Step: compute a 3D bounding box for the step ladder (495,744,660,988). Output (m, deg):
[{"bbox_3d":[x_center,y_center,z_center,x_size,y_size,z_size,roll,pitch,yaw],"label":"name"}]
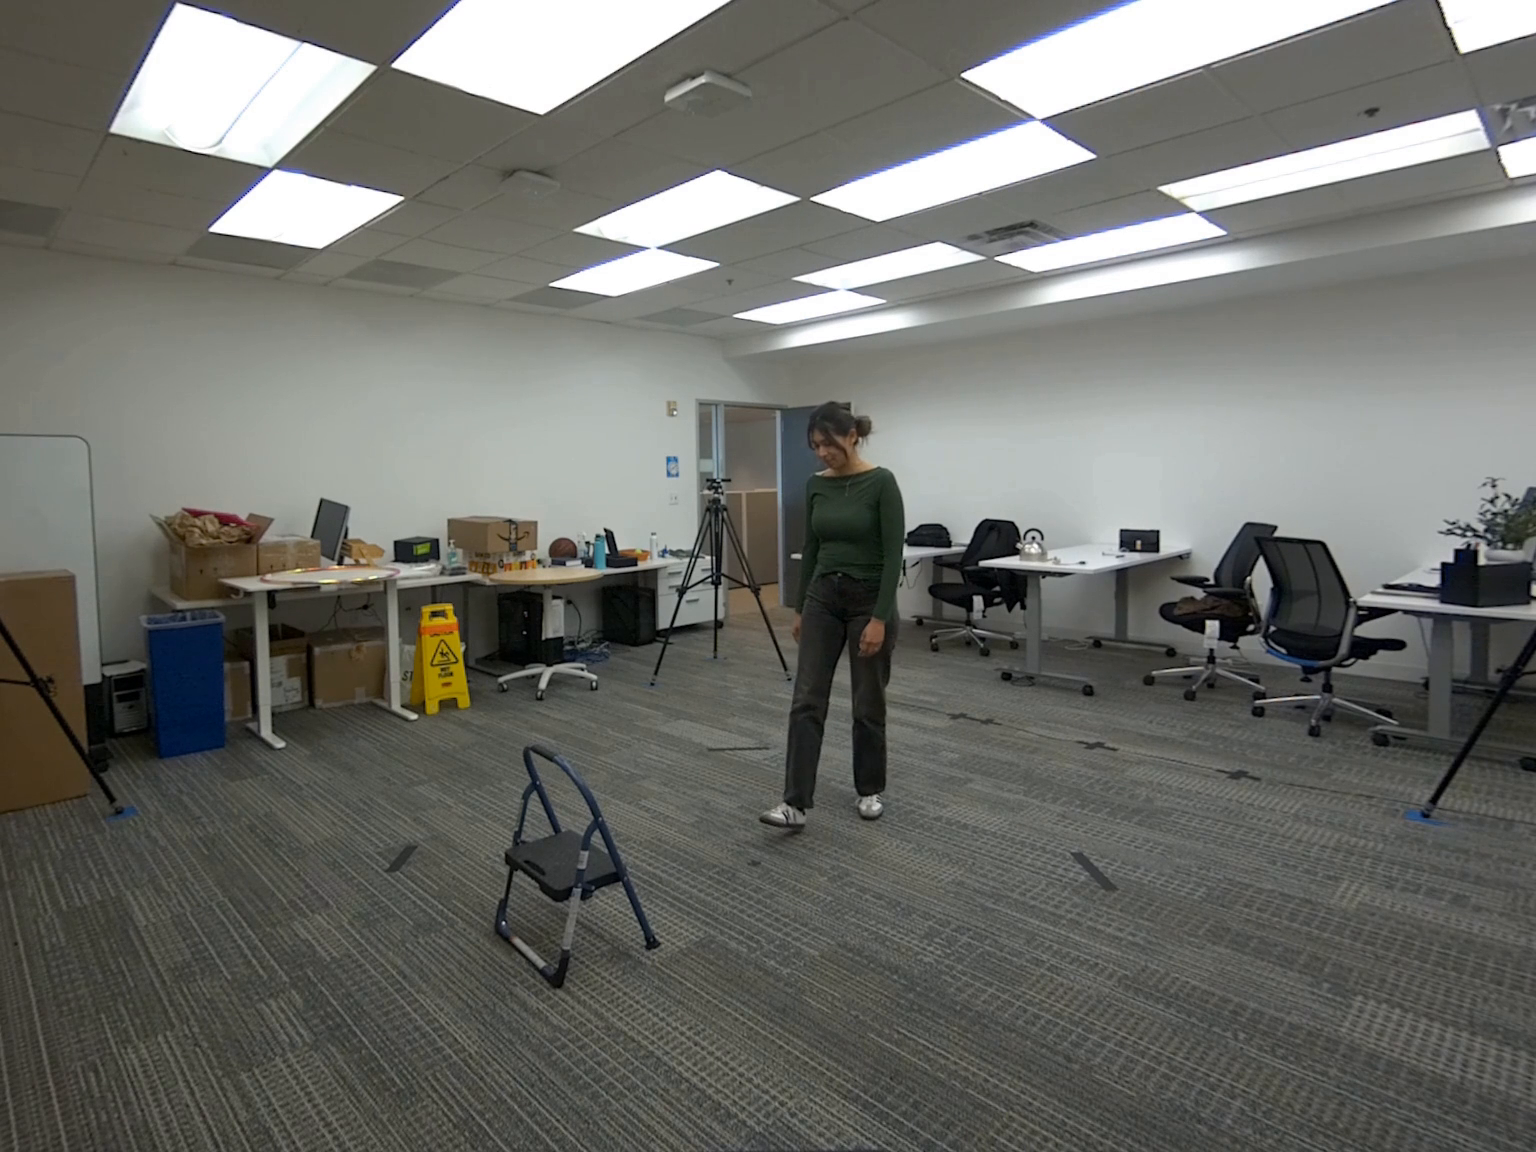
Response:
[{"bbox_3d":[-0.597,0.810,2.607,0.340,0.604,0.444,-5,6,-41],"label":"step ladder"}]
